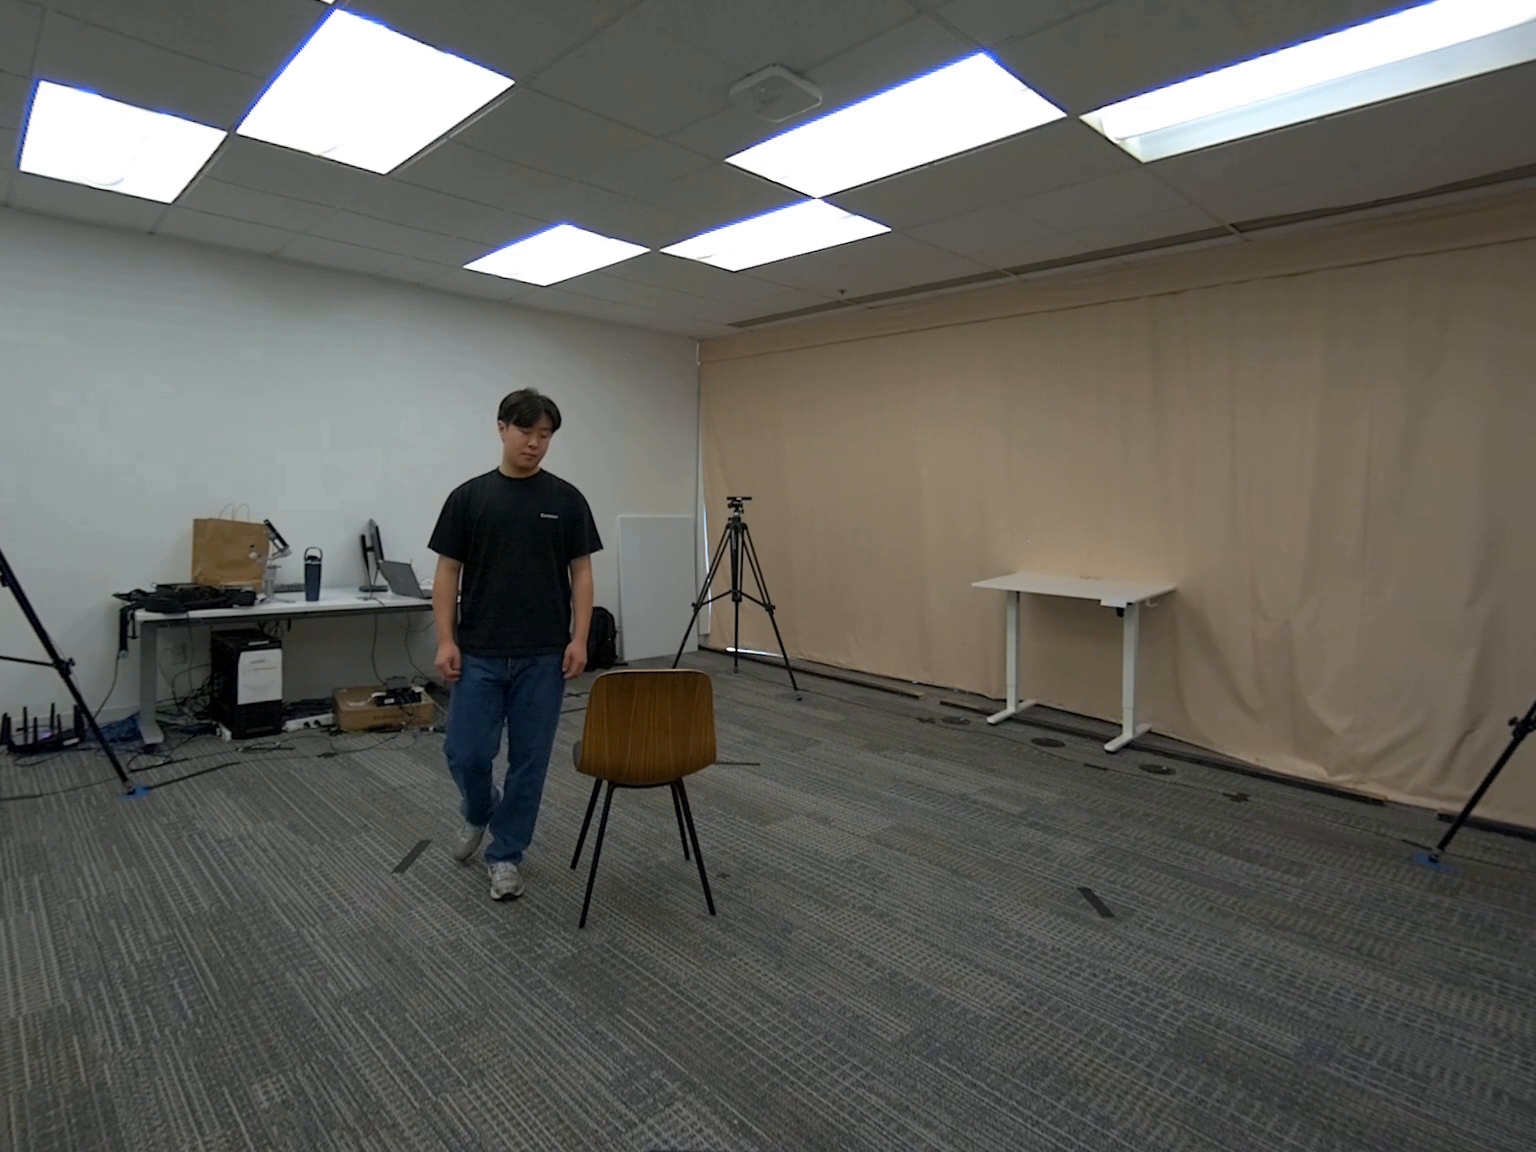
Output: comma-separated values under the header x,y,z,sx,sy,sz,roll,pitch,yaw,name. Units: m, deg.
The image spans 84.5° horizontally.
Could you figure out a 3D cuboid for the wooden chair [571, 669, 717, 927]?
x,y,z,sx,sy,sz,roll,pitch,yaw,name
-0.447,0.687,2.942,0.472,0.873,0.532,0,7,-16,wooden chair
